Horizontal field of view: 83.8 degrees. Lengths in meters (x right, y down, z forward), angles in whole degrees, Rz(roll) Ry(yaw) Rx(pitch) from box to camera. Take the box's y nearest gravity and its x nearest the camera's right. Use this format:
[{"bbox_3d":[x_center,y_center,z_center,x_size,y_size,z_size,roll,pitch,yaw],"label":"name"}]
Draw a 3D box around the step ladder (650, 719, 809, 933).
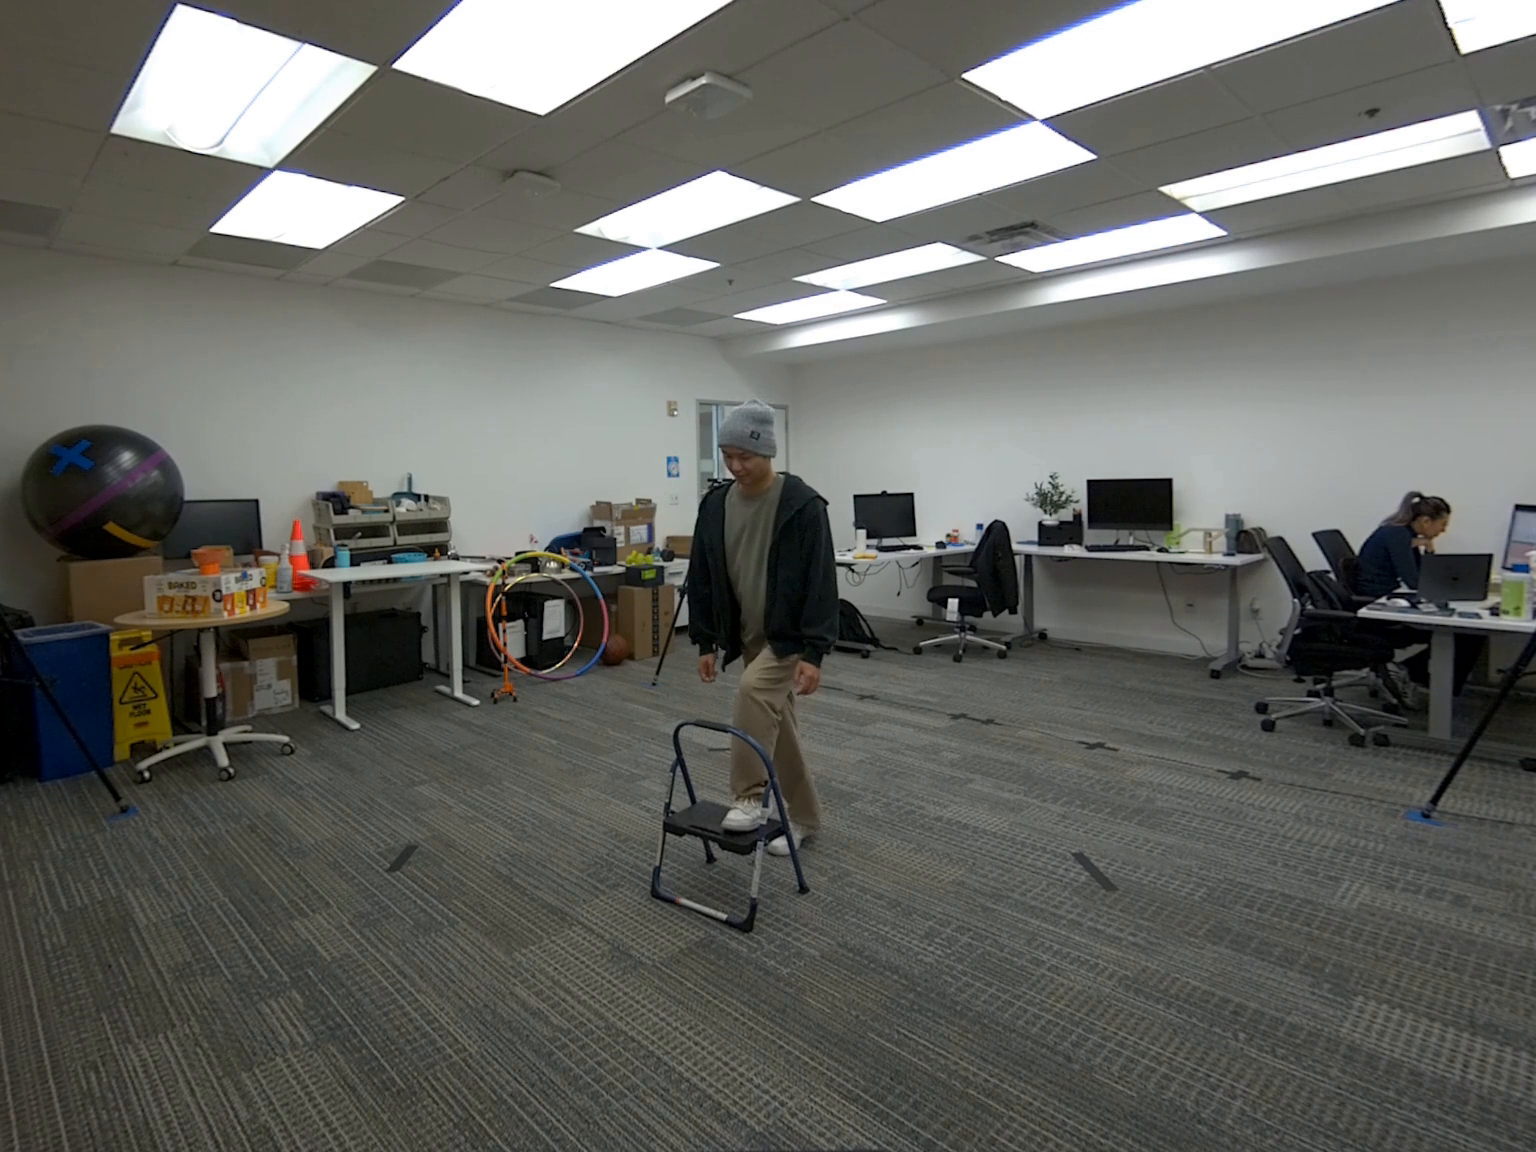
[{"bbox_3d":[-0.135,0.772,2.864,0.443,0.604,0.341,2,6,35],"label":"step ladder"}]
